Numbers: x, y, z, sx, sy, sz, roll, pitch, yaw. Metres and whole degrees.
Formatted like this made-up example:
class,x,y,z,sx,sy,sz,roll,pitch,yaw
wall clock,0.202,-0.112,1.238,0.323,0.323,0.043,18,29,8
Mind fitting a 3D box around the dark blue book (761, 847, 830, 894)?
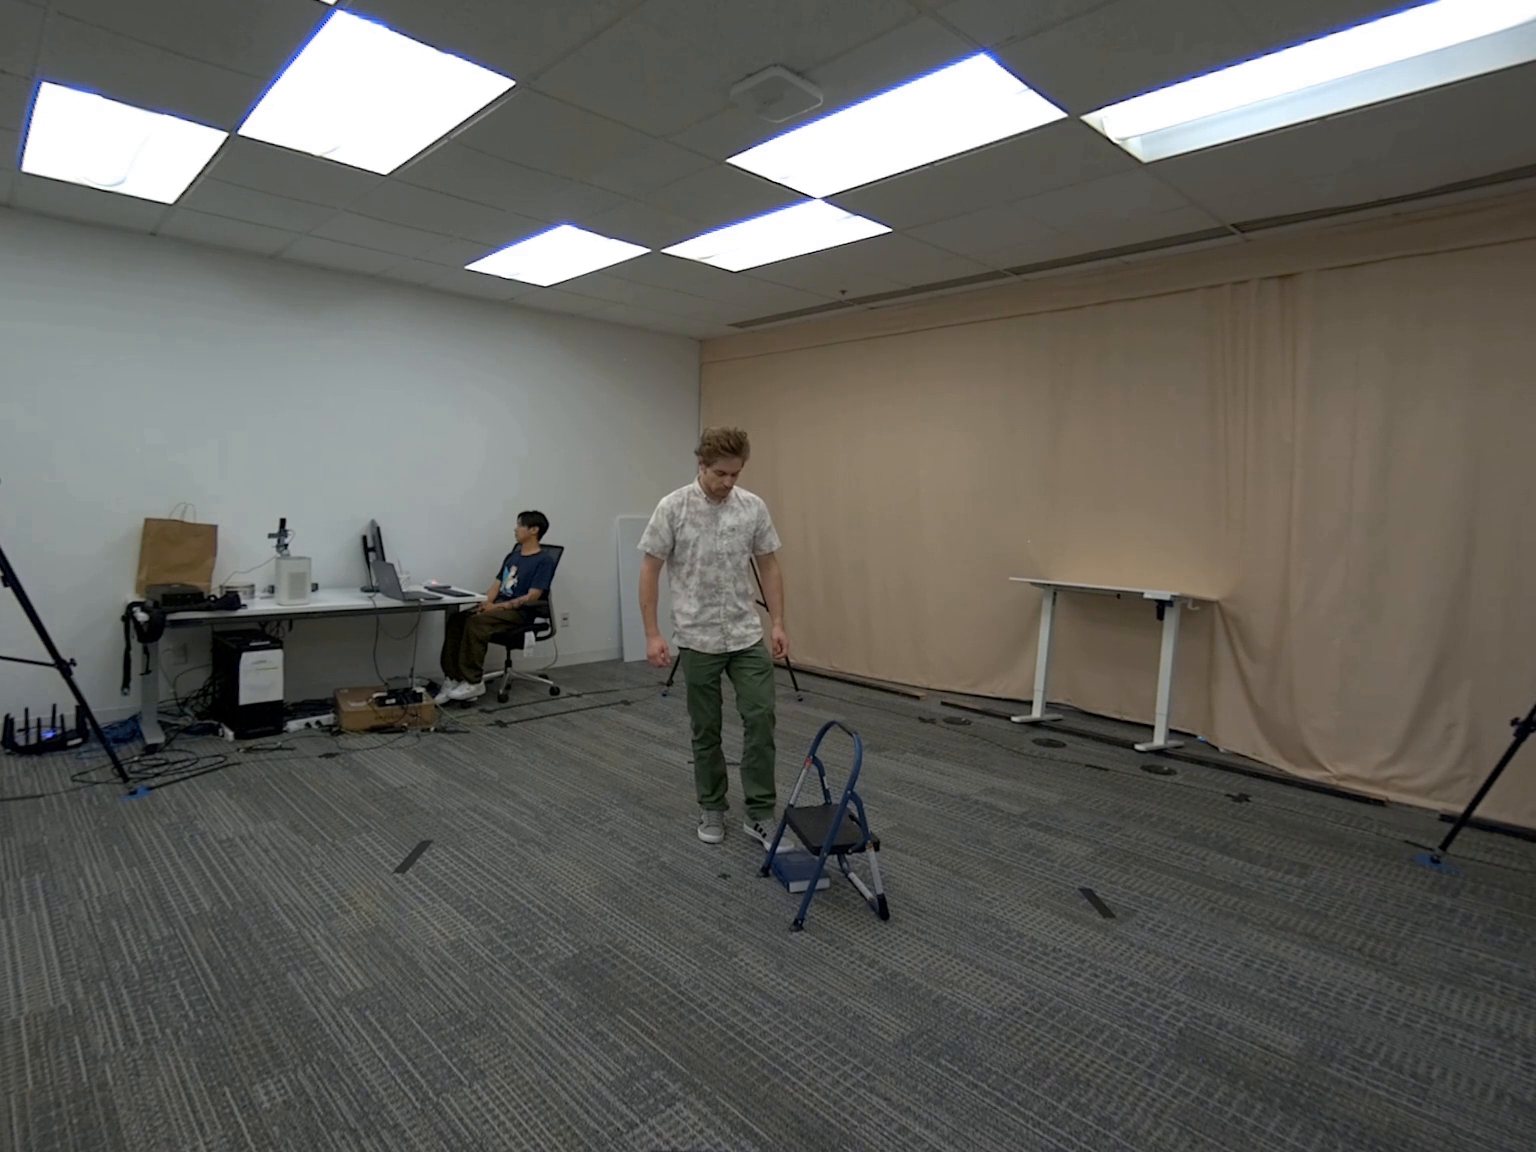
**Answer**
class,x,y,z,sx,sy,sz,roll,pitch,yaw
dark blue book,0.105,1.086,3.109,0.161,0.045,0.249,0,4,-19
